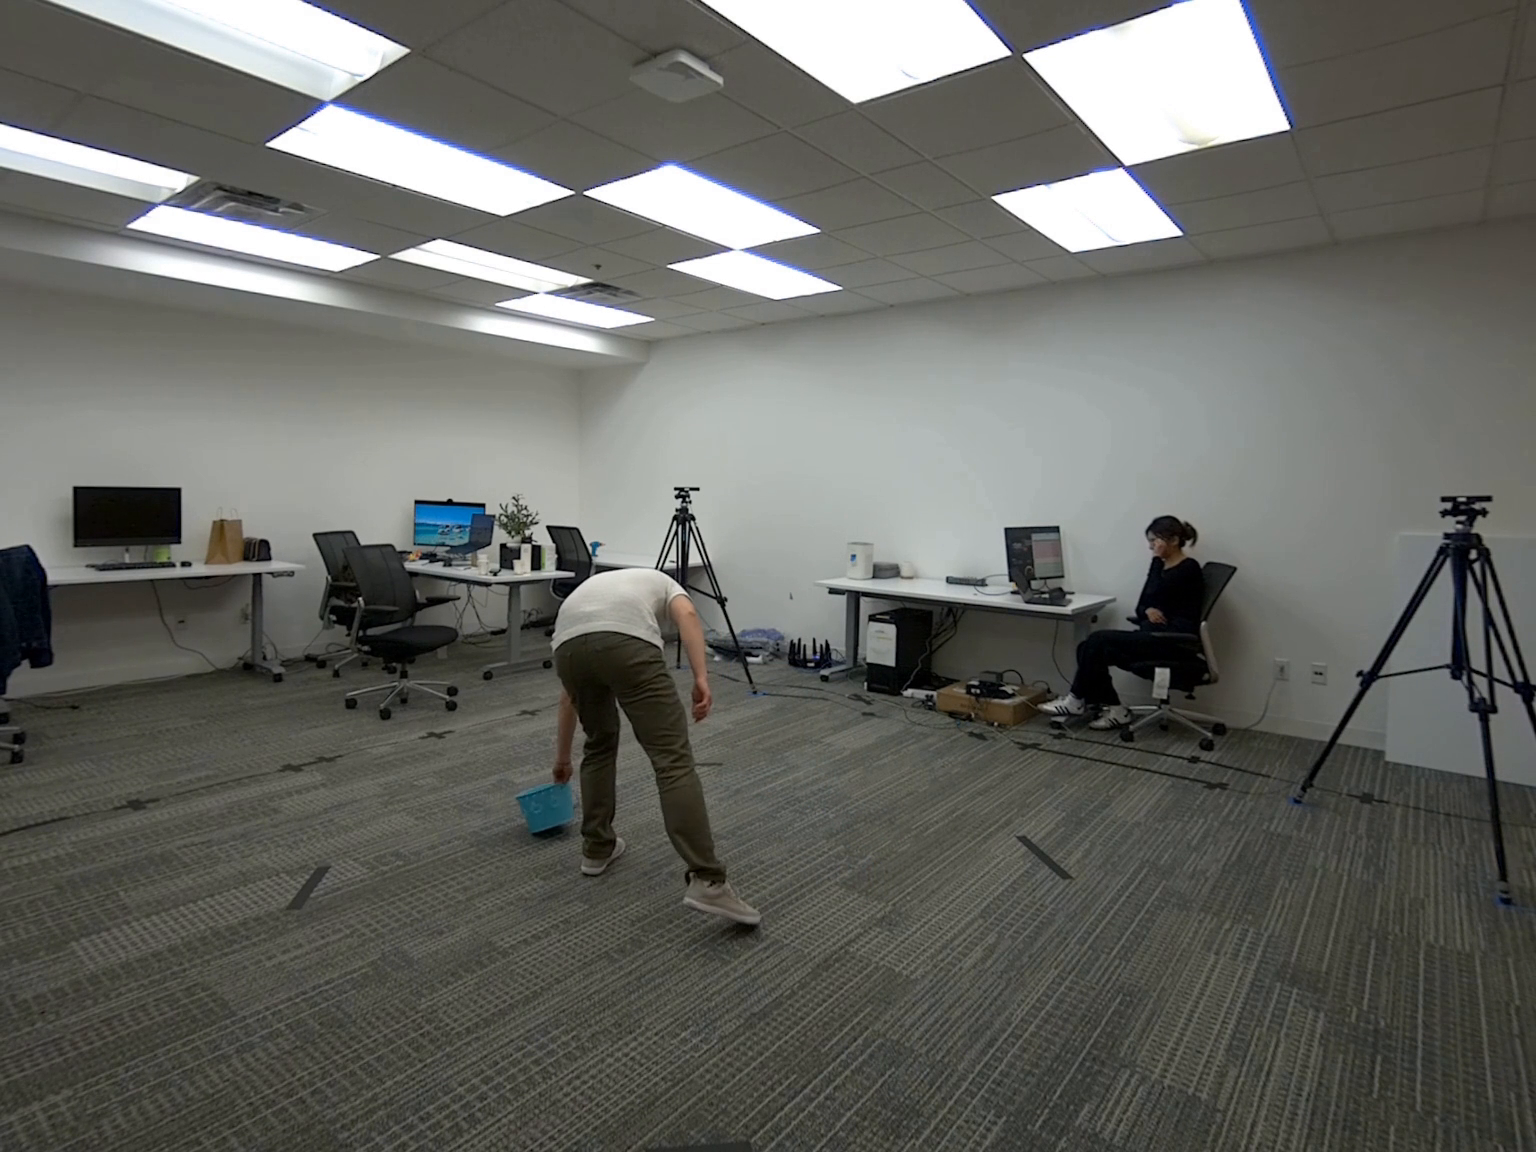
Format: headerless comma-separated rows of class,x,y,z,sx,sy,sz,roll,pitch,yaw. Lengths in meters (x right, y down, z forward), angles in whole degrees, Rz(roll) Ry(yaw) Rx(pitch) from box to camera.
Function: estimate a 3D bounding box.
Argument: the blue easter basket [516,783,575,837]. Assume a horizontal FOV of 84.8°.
blue easter basket,-0.896,0.927,3.428,0.243,0.157,0.242,-17,-5,-4
